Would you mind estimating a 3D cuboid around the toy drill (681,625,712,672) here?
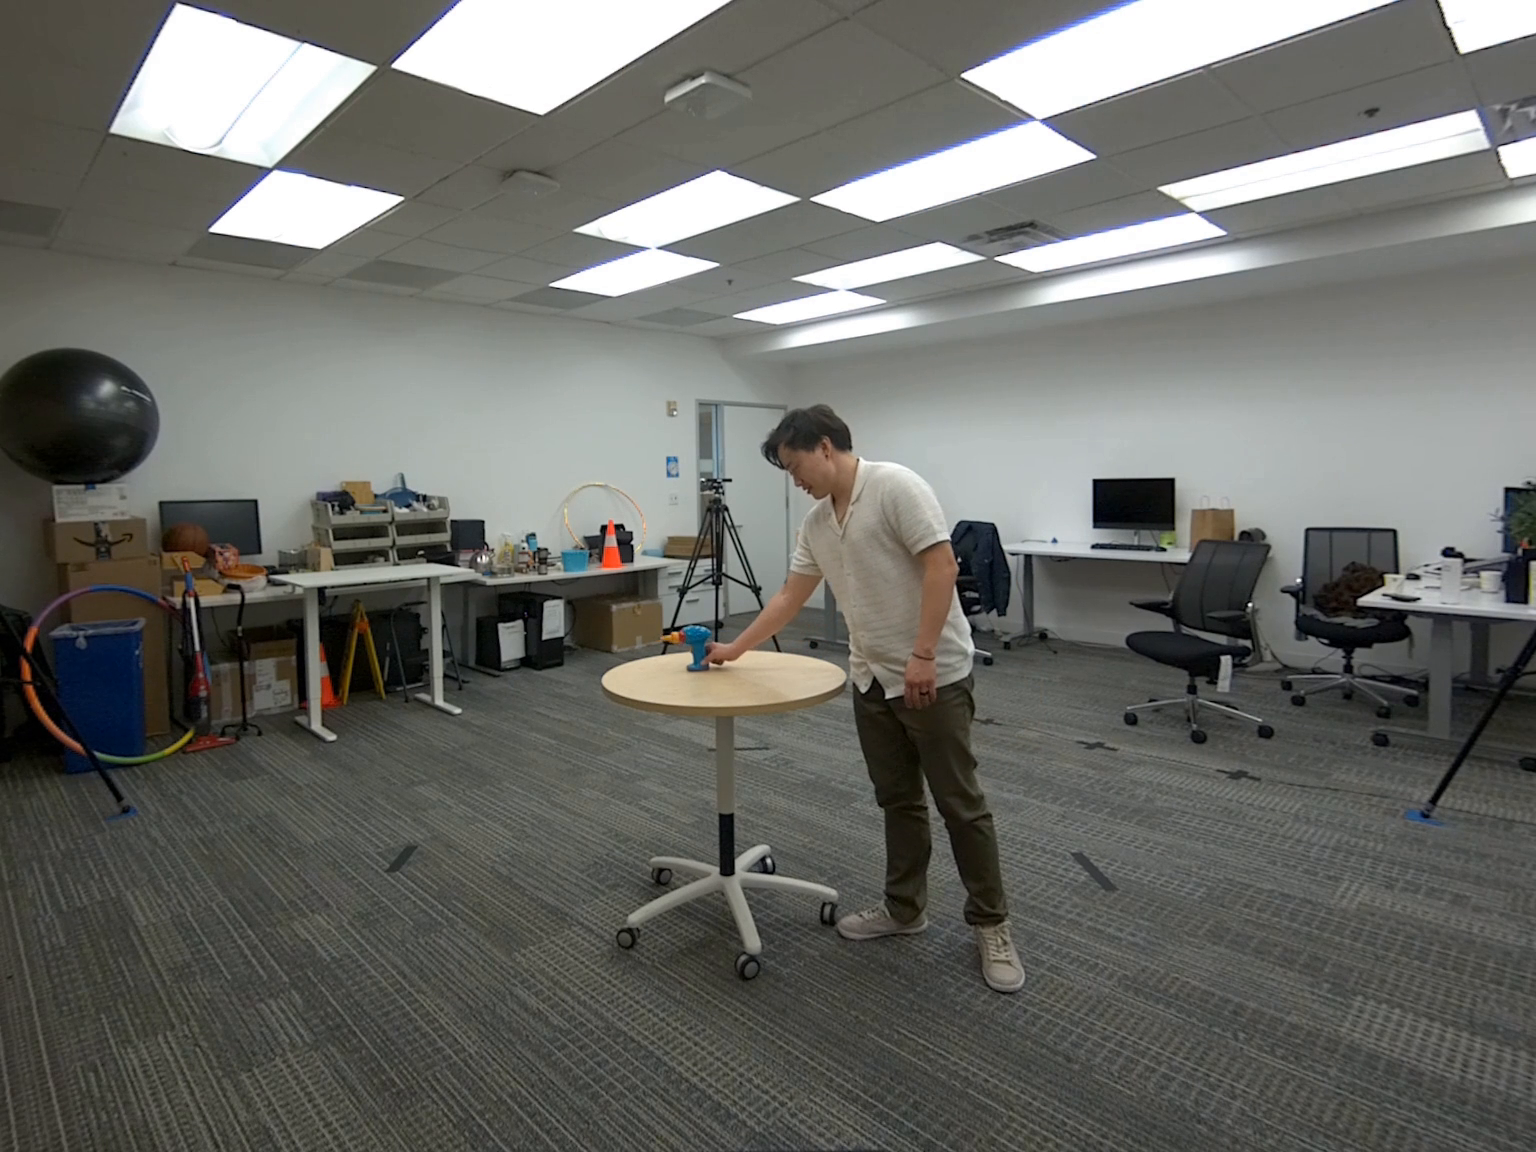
[{"bbox_3d":[-0.249,0.232,2.746,0.167,0.146,0.062,-1,1,-19],"label":"toy drill"}]
